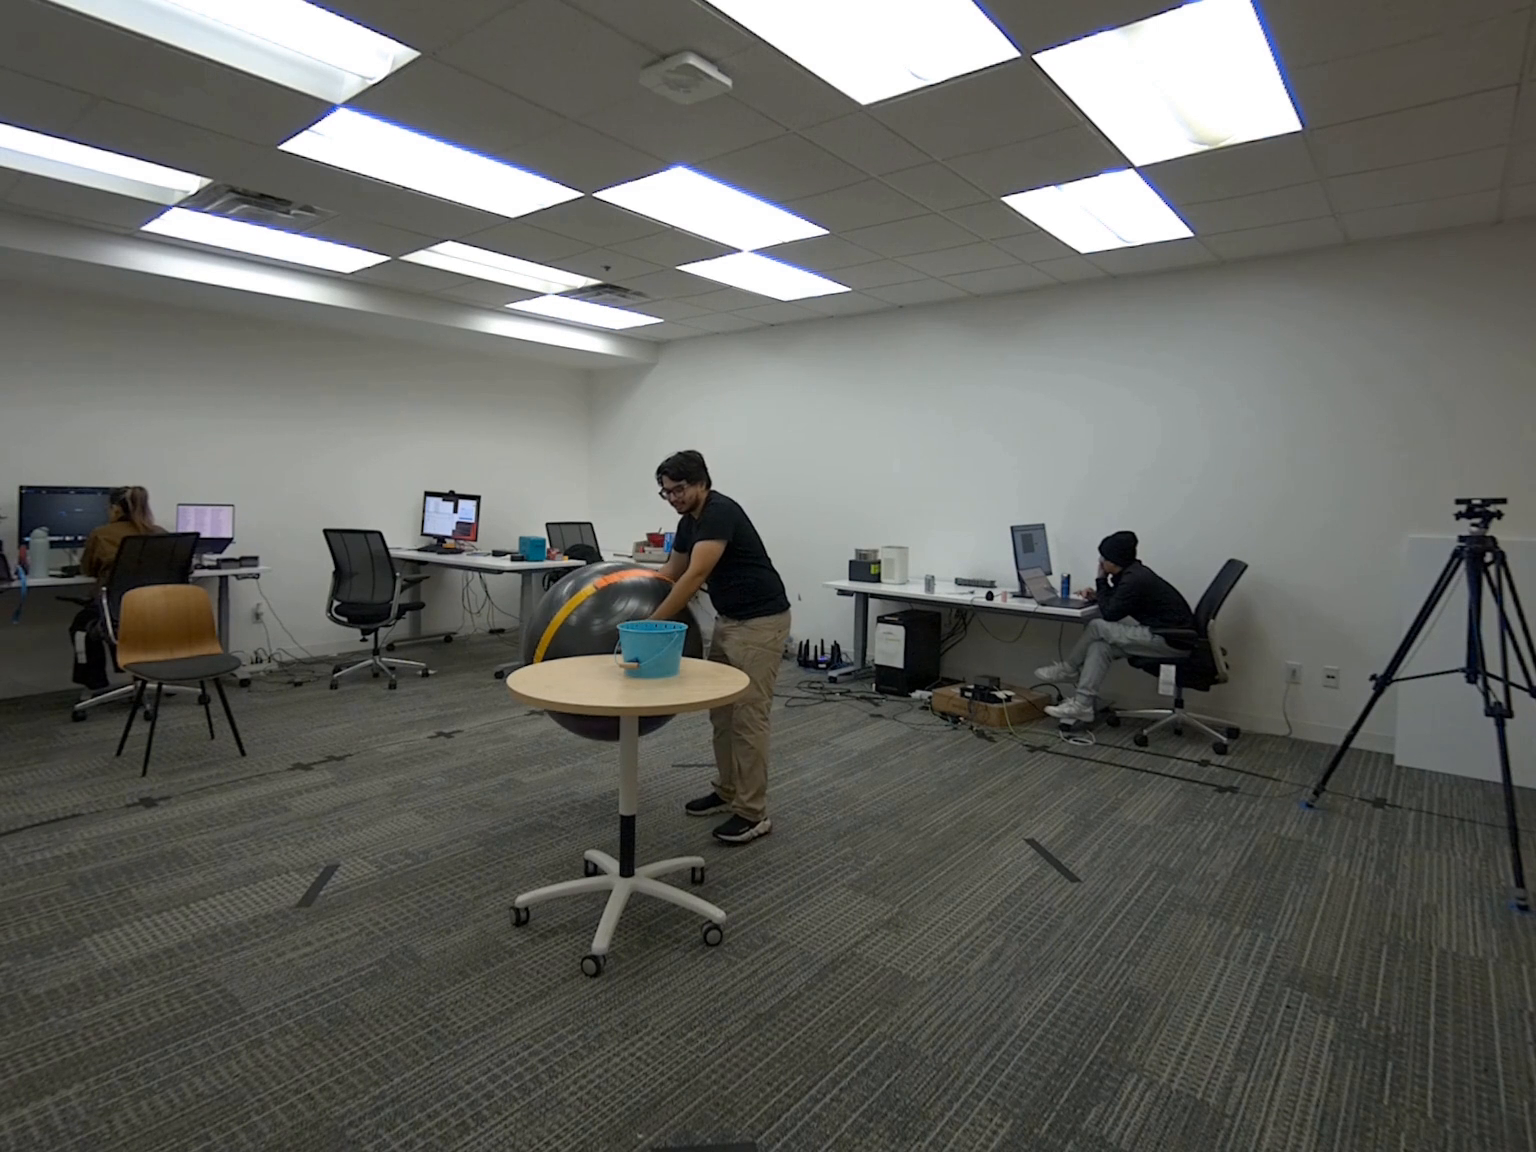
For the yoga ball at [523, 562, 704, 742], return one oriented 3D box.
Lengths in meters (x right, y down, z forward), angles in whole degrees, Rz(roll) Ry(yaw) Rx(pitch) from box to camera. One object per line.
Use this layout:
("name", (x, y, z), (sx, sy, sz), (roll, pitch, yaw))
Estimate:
("yoga ball", (-0.670, 0.319, 3.643), (0.757, 0.755, 0.762), (1, 4, -2))
